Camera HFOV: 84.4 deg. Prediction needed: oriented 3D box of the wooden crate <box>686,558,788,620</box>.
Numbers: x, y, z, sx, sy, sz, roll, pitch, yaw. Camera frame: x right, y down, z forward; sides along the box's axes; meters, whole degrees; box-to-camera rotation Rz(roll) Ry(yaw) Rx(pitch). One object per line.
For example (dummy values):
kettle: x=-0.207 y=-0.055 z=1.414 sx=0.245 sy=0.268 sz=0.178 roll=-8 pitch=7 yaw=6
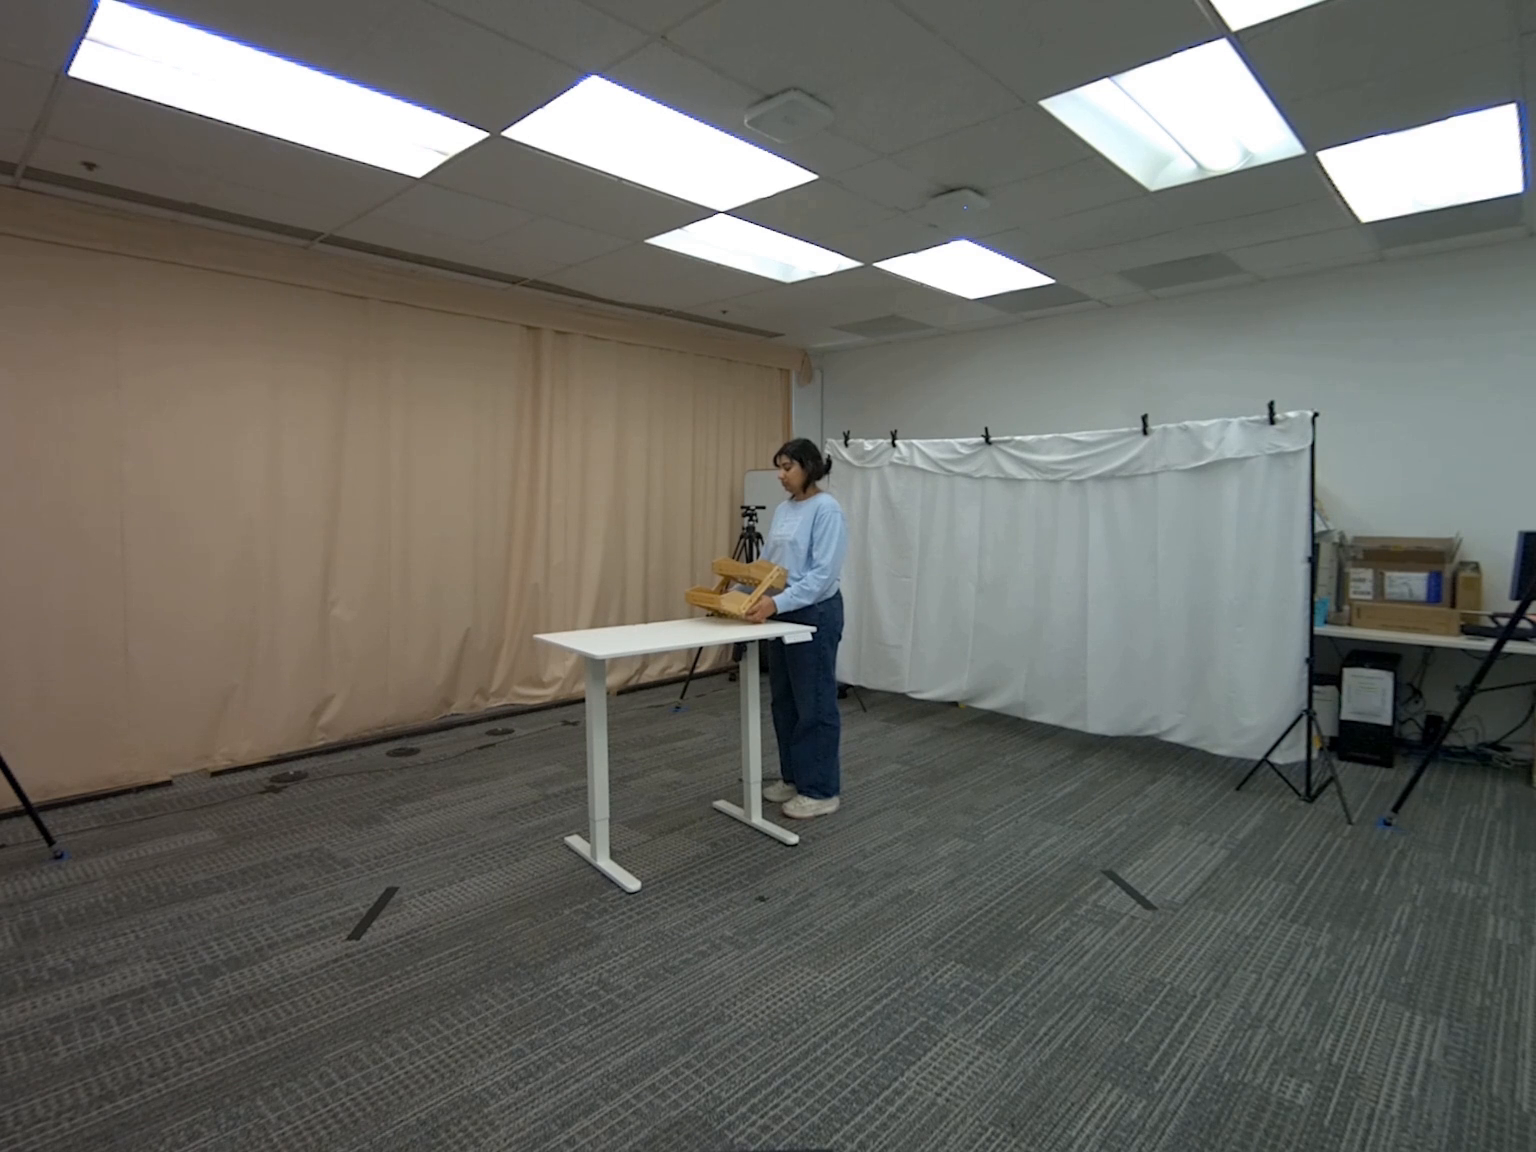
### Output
wooden crate: x=-0.137 y=0.040 z=3.749 sx=0.292 sy=0.274 sz=0.334 roll=23 pitch=-11 yaw=-32
